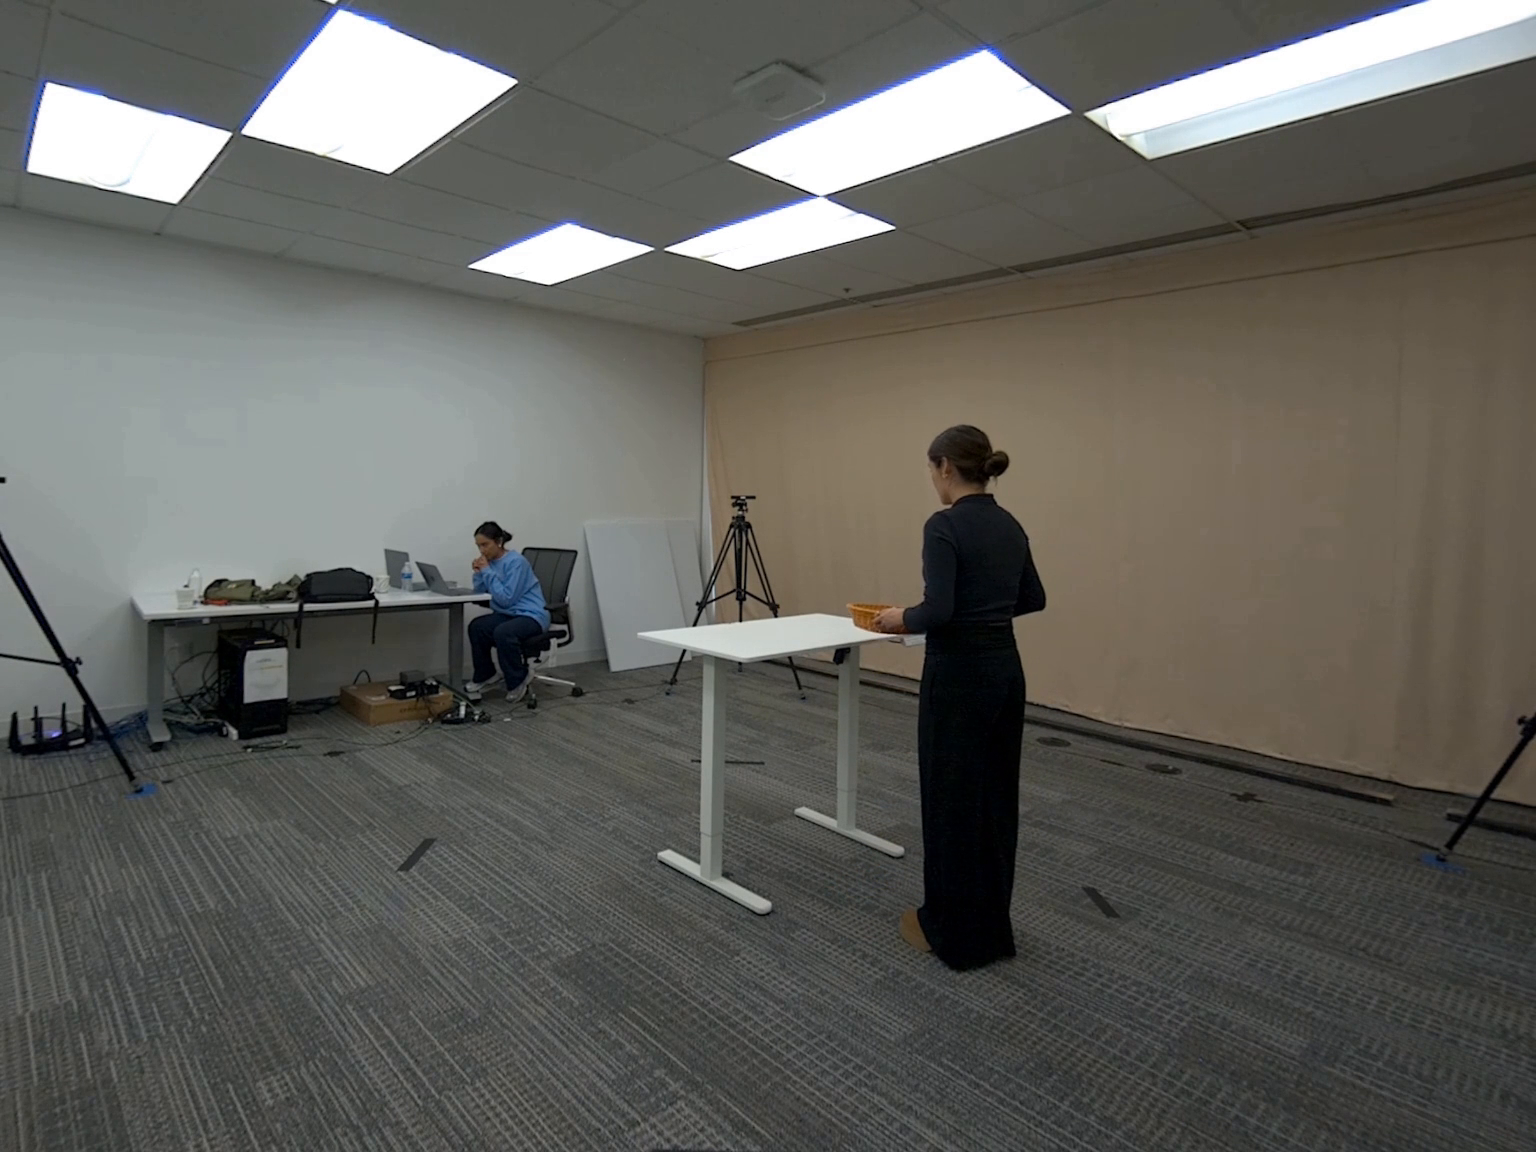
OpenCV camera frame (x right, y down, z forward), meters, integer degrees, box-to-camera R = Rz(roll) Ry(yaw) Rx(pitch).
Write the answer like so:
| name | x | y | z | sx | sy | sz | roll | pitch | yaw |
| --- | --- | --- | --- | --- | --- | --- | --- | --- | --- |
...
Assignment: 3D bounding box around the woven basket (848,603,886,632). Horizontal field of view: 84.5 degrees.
| name | x | y | z | sx | sy | sz | roll | pitch | yaw |
| --- | --- | --- | --- | --- | --- | --- | --- | --- | --- |
| woven basket | 0.443 | 0.157 | 2.845 | 0.343 | 0.073 | 0.258 | 5 | 4 | -30 |
